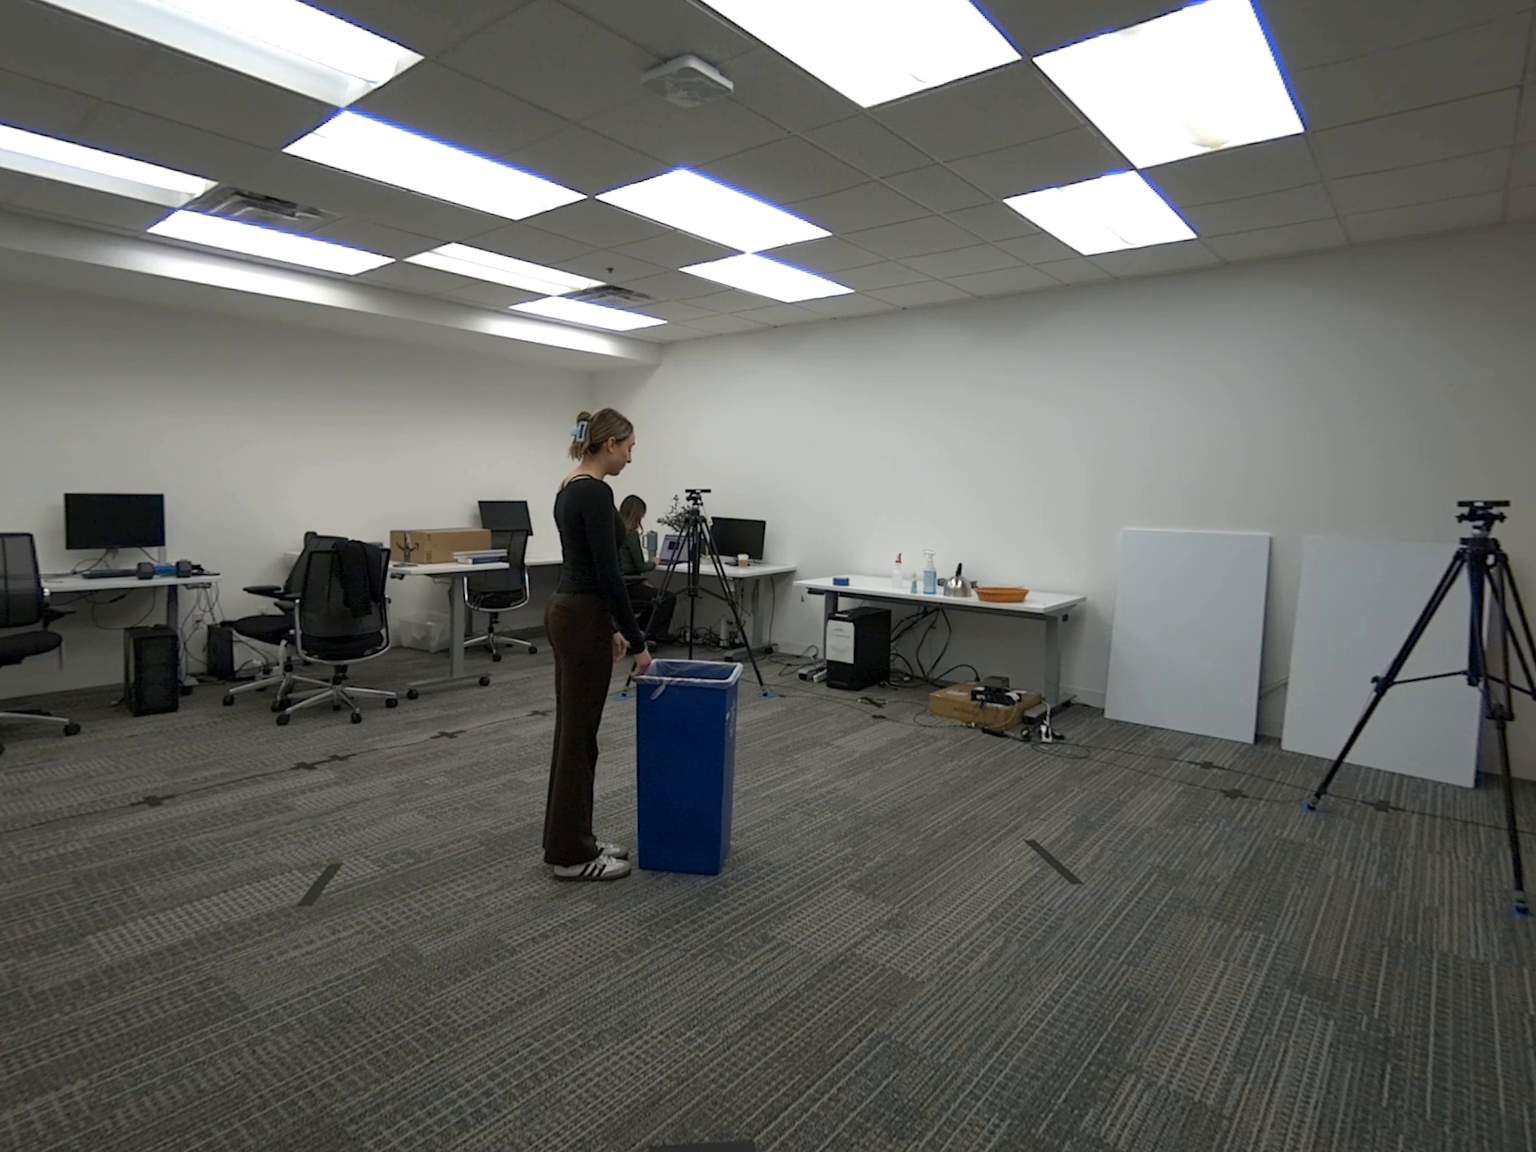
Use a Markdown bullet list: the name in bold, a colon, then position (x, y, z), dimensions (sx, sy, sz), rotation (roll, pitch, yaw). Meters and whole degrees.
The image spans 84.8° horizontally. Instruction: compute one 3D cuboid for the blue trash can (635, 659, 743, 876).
- **blue trash can**: position (-0.318, 0.706, 3.221), dimensions (0.382, 0.711, 0.372), rotation (2, 3, 7)
